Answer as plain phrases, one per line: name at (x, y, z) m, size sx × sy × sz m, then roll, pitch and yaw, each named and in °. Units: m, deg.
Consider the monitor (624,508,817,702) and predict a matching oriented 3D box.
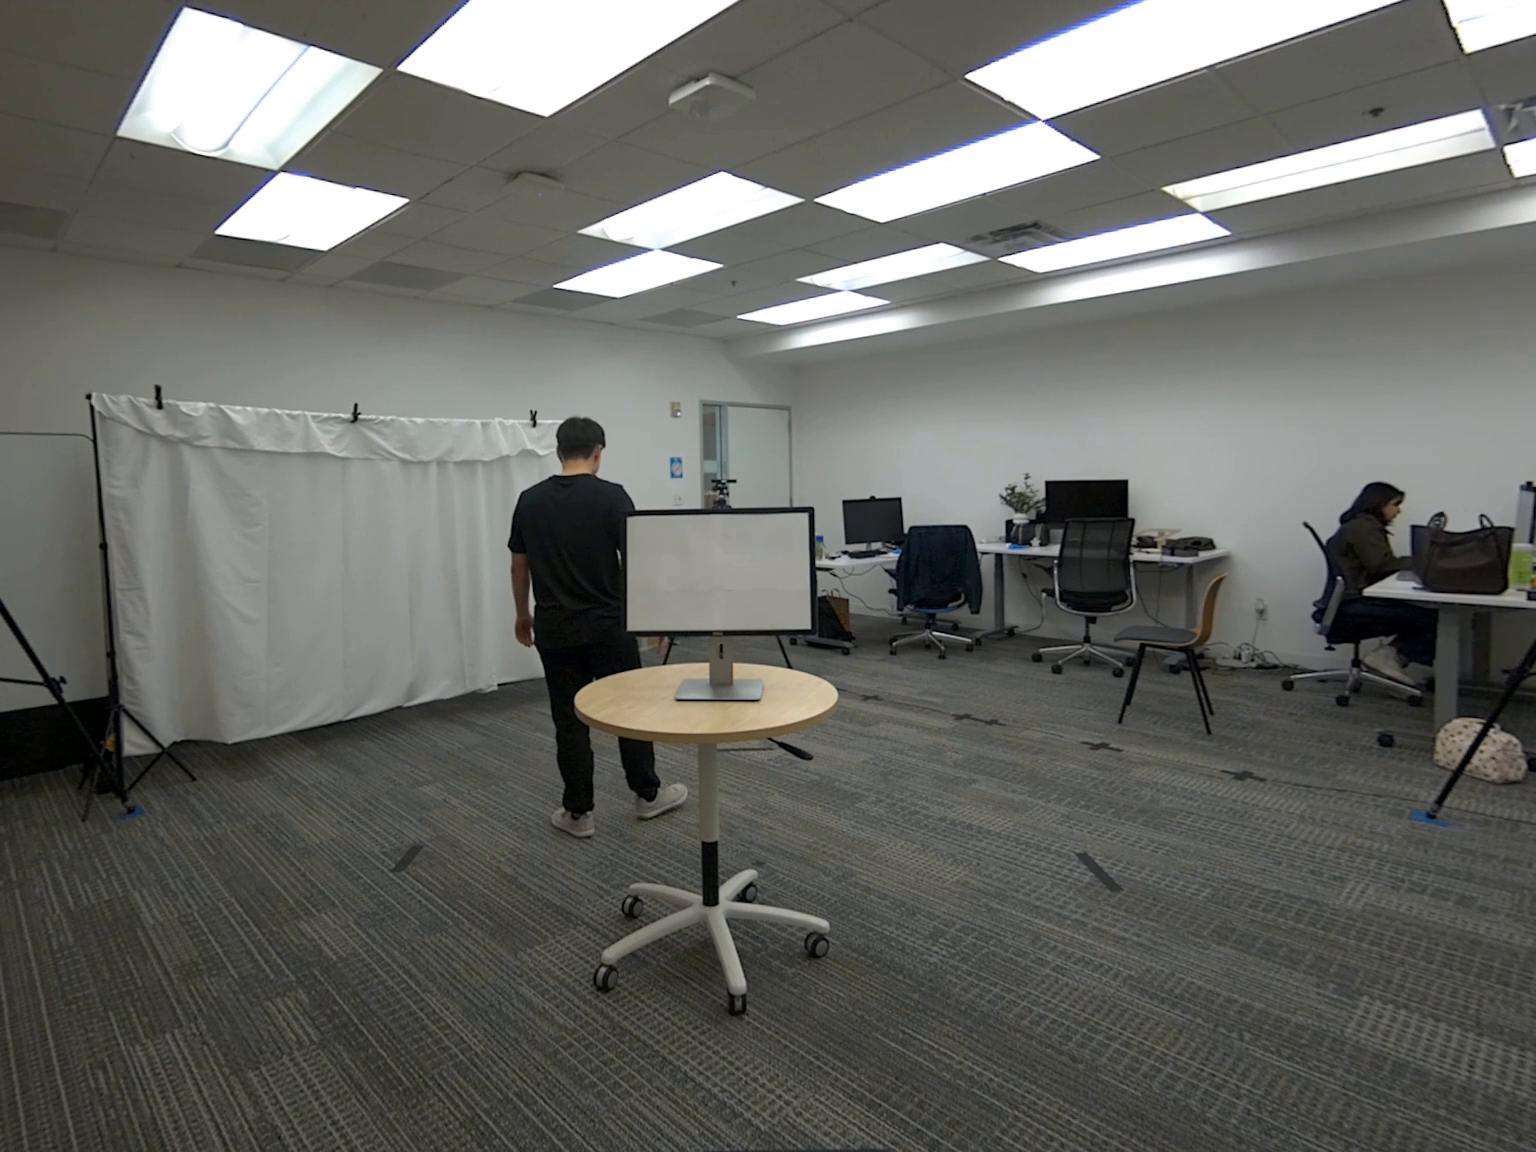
monitor at (-0.141, 0.078, 2.487) m, size 0.540 × 0.519 × 0.188 m, roll -1°, pitch 6°, yaw 2°
